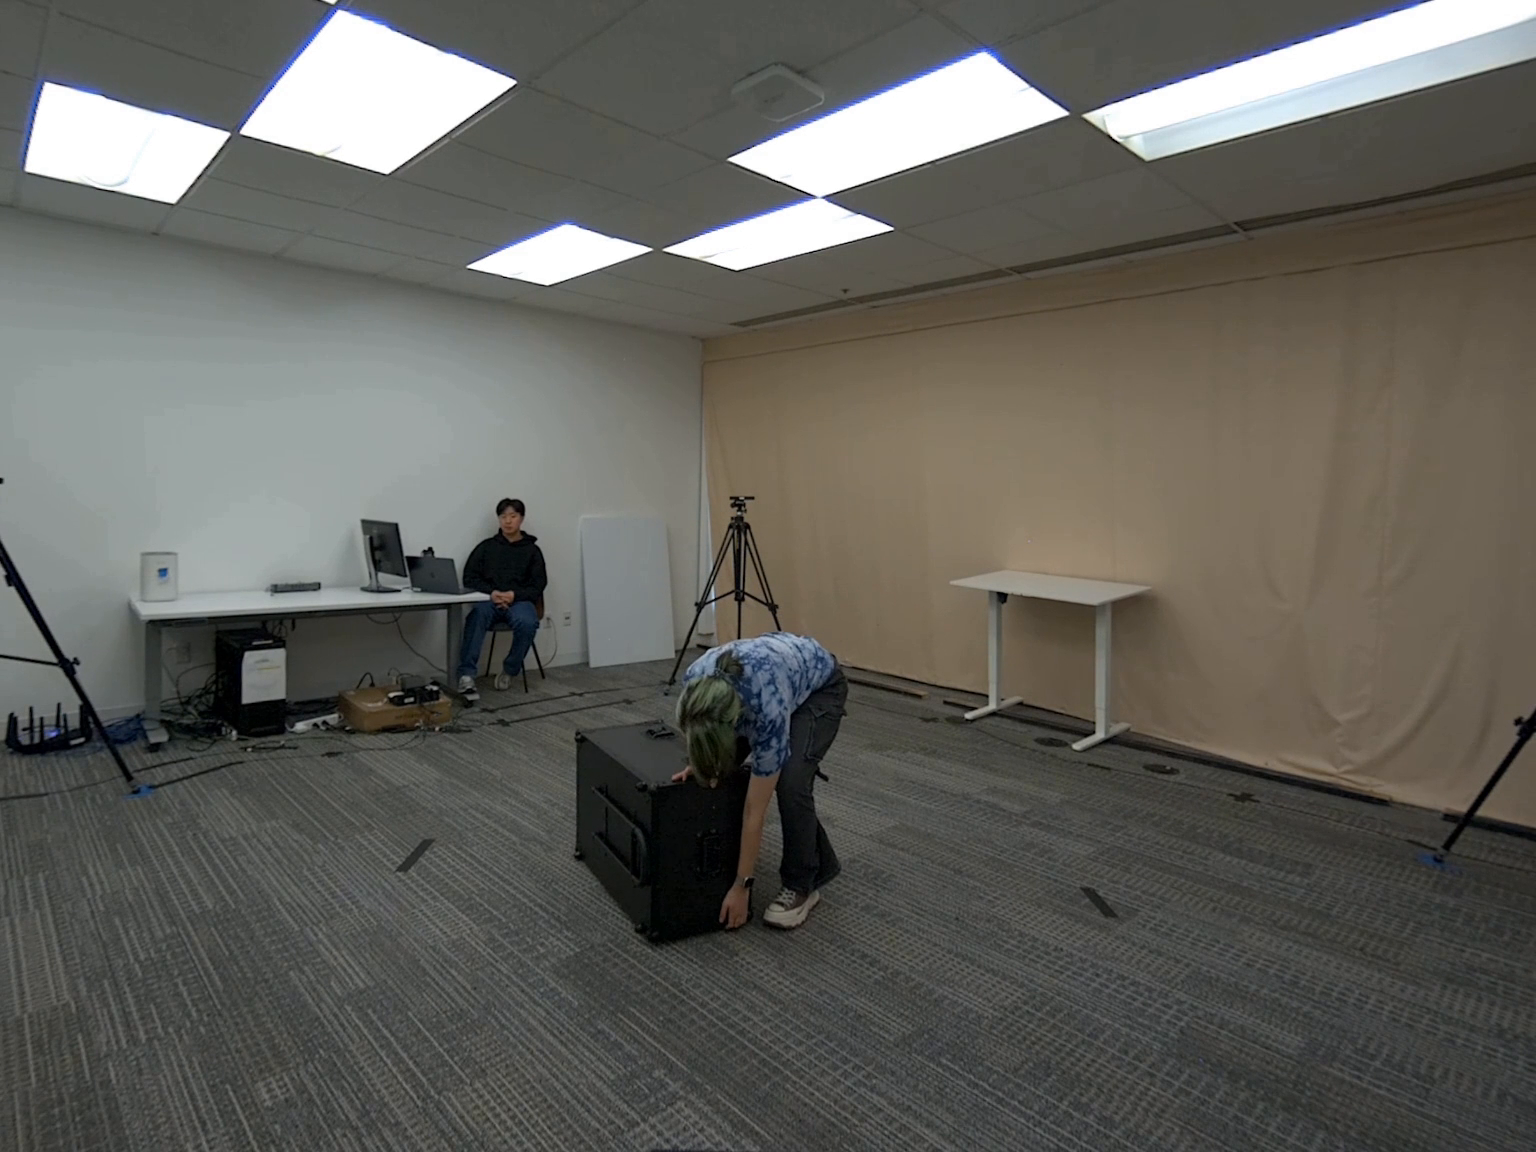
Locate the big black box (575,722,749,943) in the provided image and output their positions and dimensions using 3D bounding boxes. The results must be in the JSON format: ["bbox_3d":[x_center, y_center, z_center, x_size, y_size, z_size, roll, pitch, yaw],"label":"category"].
[{"bbox_3d":[-0.429,0.849,3.013,0.389,0.520,0.879,-1,3,-28],"label":"big black box"}]
